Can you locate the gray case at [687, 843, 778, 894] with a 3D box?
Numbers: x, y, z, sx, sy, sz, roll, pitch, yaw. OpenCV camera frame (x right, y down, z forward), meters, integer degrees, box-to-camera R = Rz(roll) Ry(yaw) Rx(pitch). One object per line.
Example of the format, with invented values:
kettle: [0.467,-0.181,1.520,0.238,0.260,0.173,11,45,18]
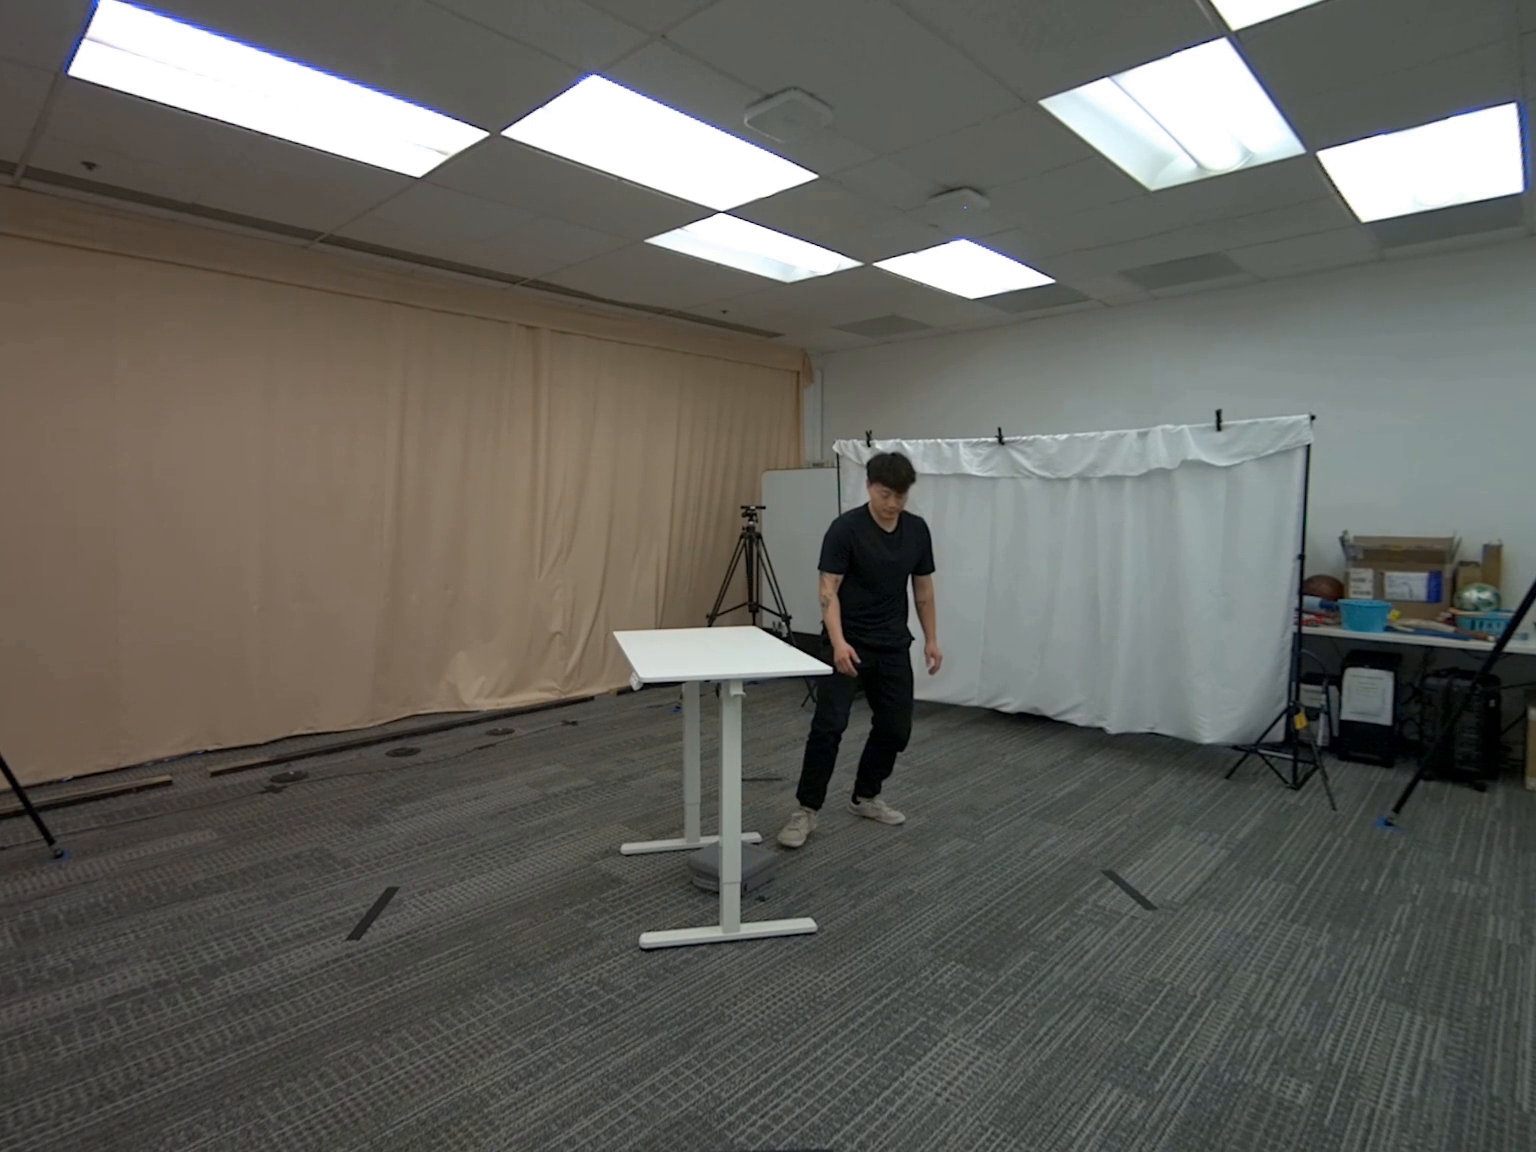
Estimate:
gray case: [-0.133,1.071,3.124,0.265,0.104,0.253,5,8,40]
